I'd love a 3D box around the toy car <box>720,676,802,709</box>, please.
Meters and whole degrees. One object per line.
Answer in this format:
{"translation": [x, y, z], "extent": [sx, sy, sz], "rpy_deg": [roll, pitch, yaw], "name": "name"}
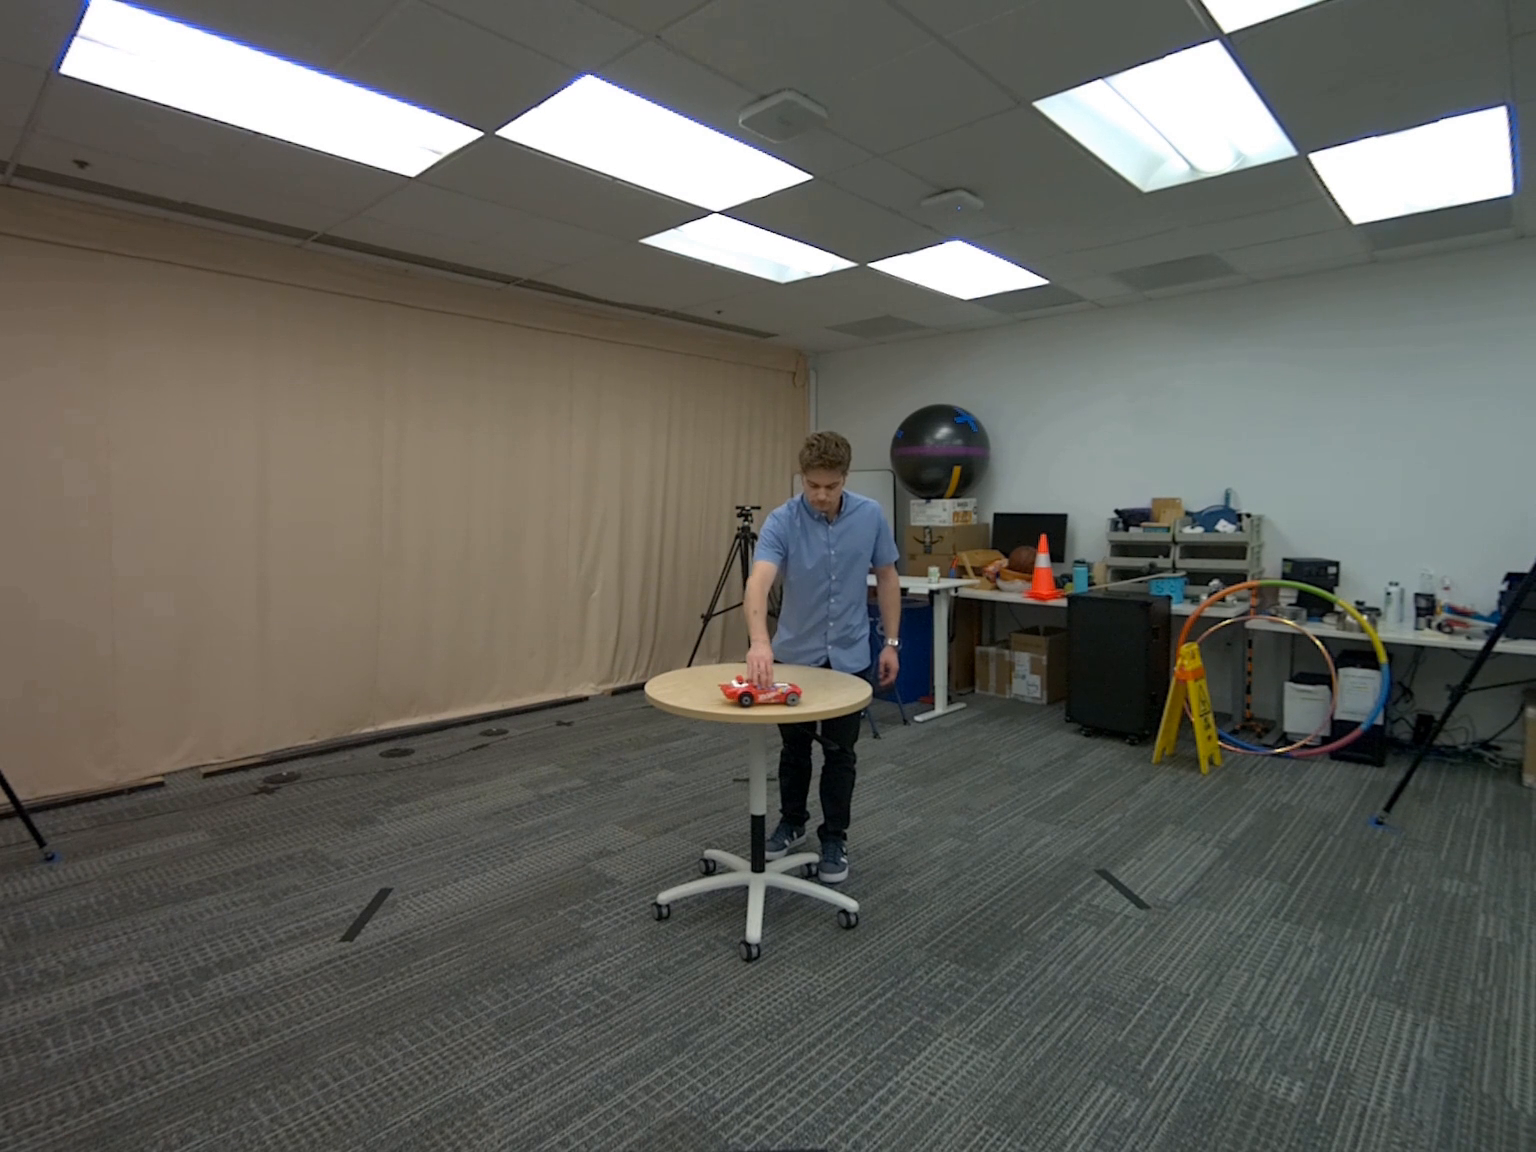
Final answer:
{"translation": [-0.030, 0.366, 2.610], "extent": [0.252, 0.083, 0.131], "rpy_deg": [11, 3, -7], "name": "toy car"}
